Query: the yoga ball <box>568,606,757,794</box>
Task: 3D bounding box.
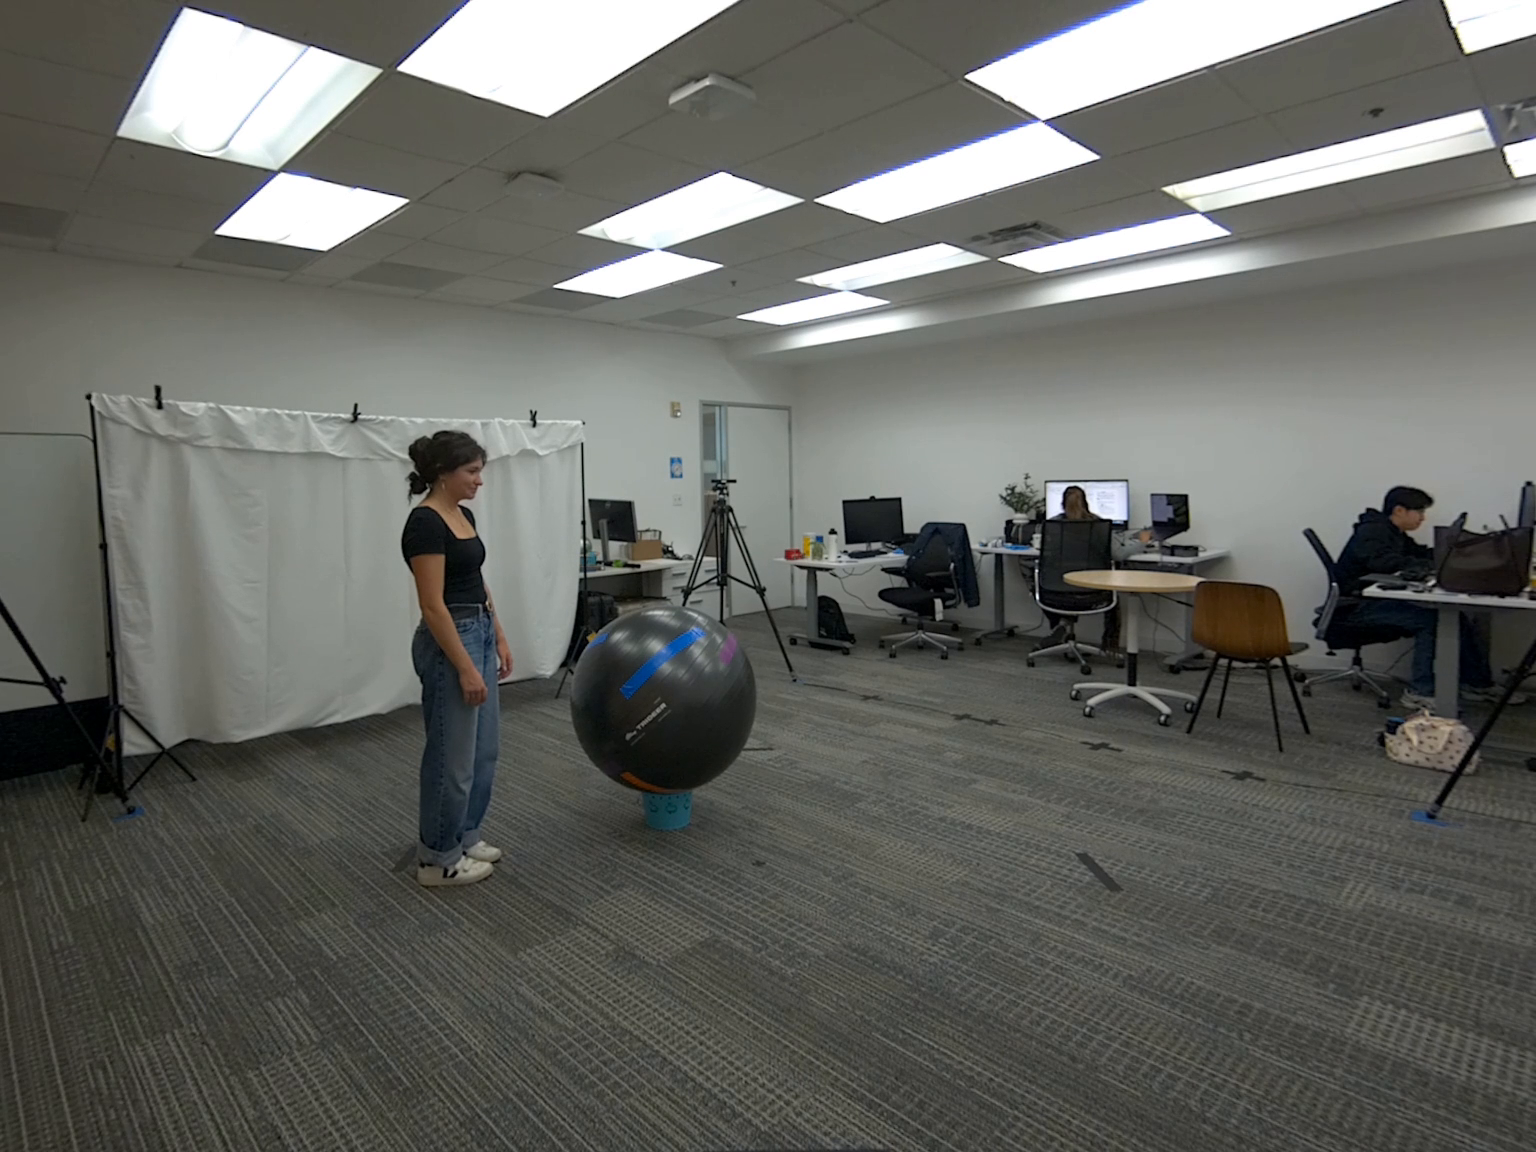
[{"bbox_3d":[-0.438,0.504,3.501,0.757,0.755,0.762,-1,5,-2],"label":"yoga ball"}]
